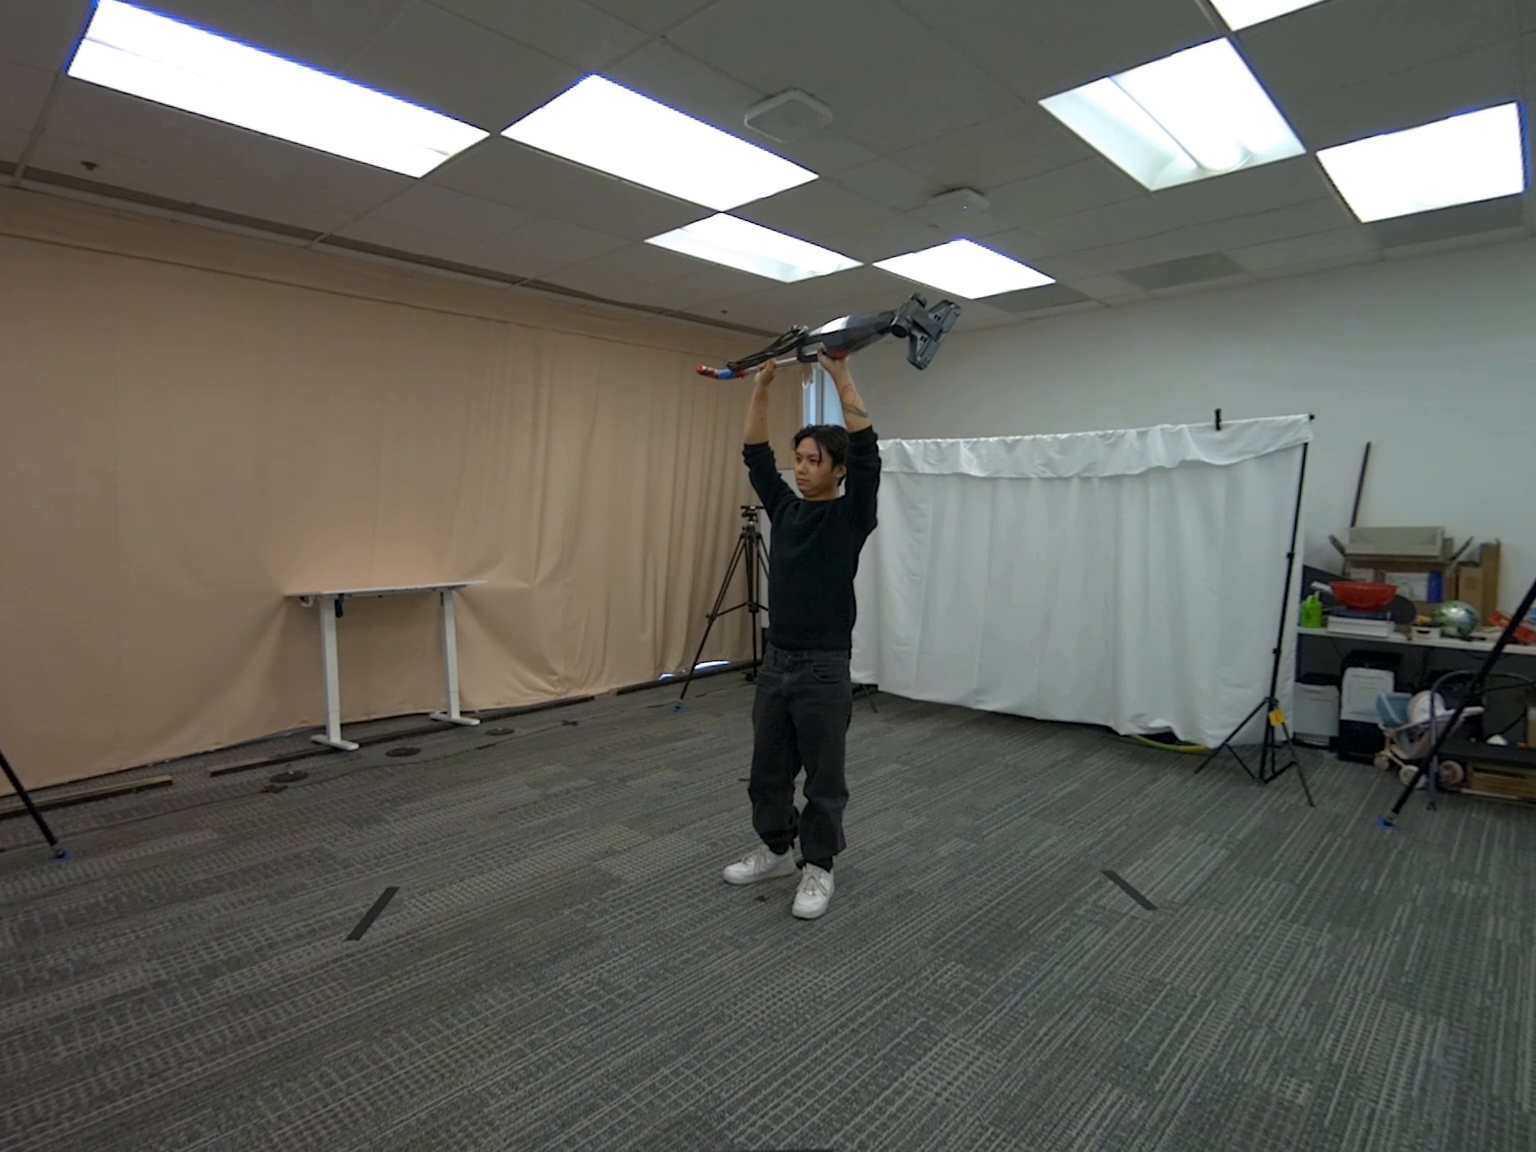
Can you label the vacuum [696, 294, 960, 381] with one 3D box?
[{"bbox_3d":[0.096,-0.746,2.760,1.085,0.252,0.139,7,-33,49],"label":"vacuum"}]
